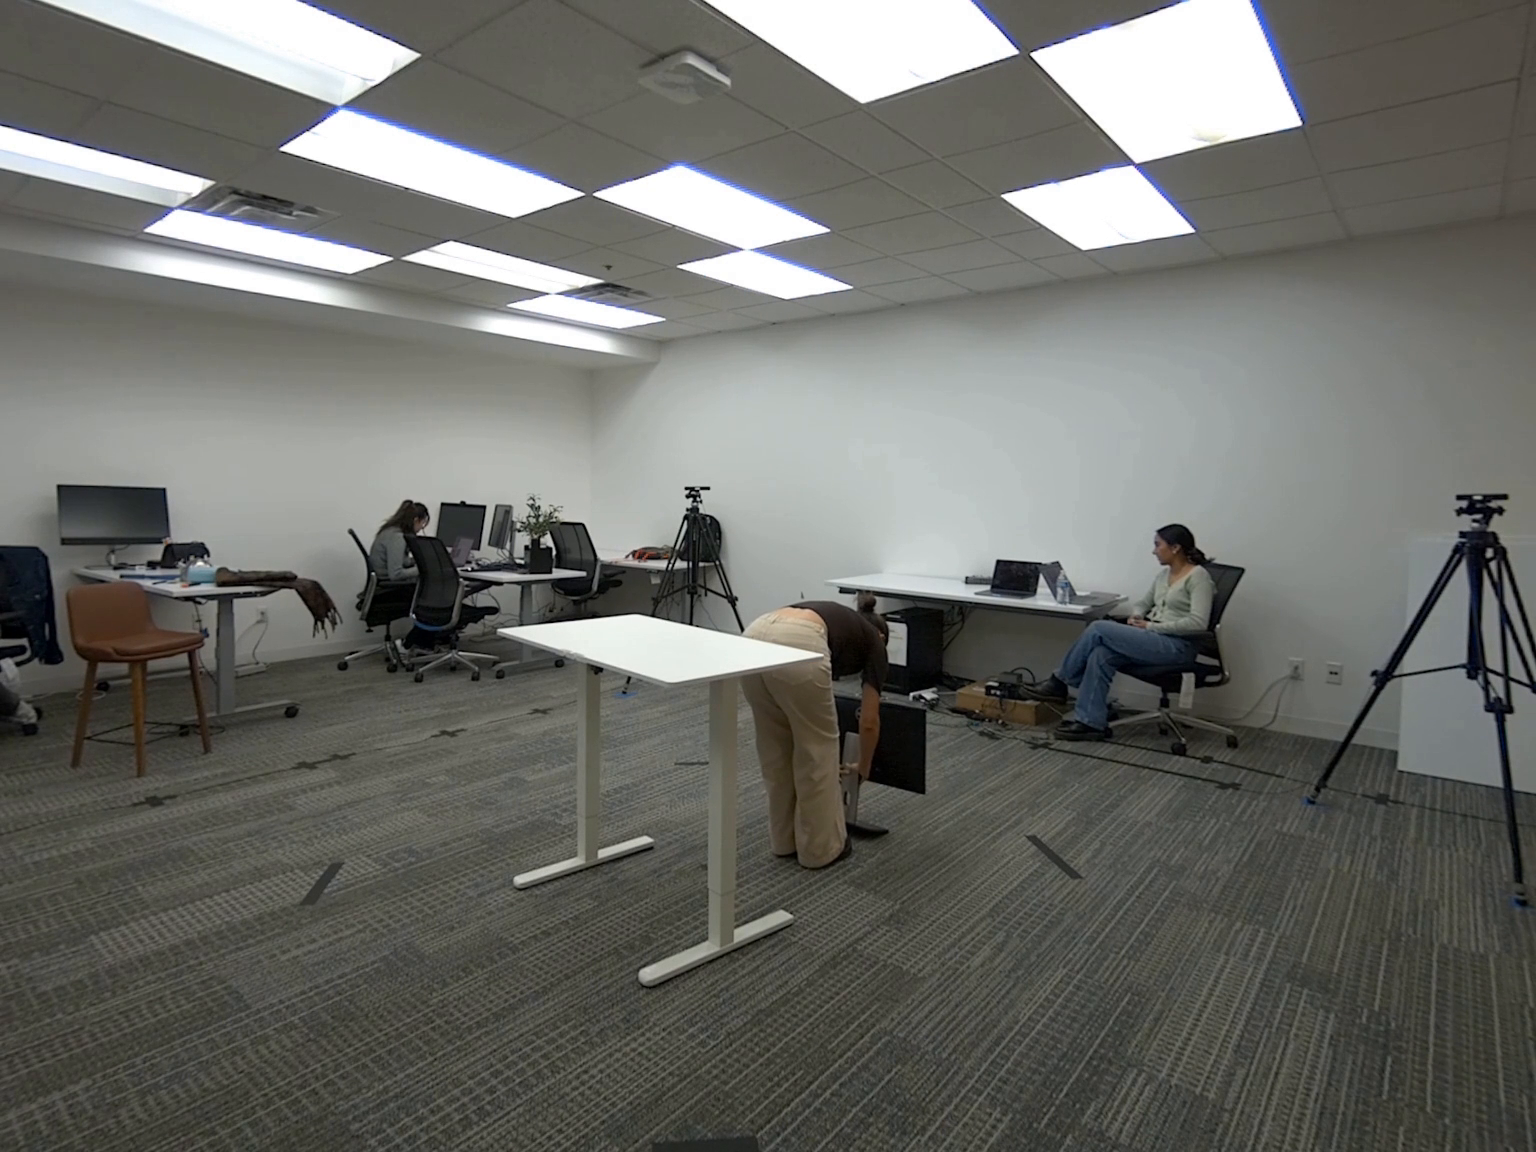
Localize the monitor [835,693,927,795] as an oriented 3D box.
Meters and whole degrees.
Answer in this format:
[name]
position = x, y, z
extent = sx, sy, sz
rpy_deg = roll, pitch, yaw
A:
[monitor]
position = 0.366, 0.766, 3.519
extent = 0.556, 0.525, 0.180
rpy_deg = 3, -8, 35
